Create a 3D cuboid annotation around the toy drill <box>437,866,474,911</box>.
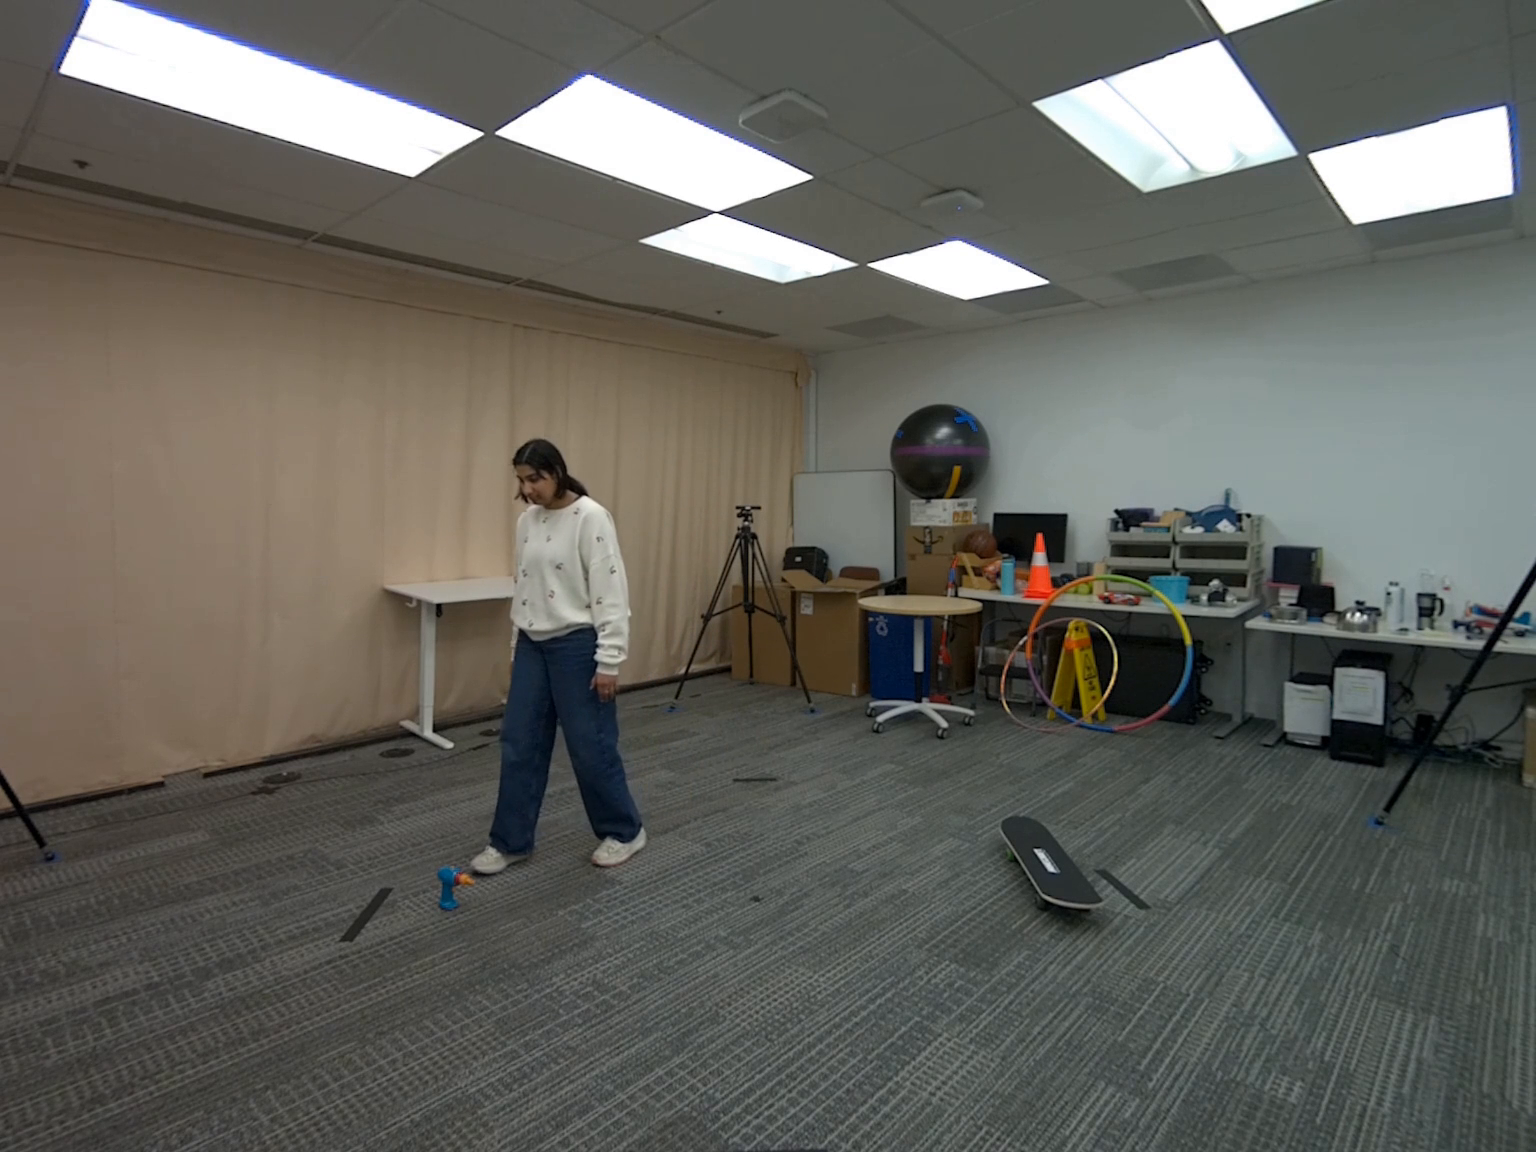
[{"bbox_3d":[-1.081,1.079,2.925,0.174,0.146,0.060,2,3,24],"label":"toy drill"}]
